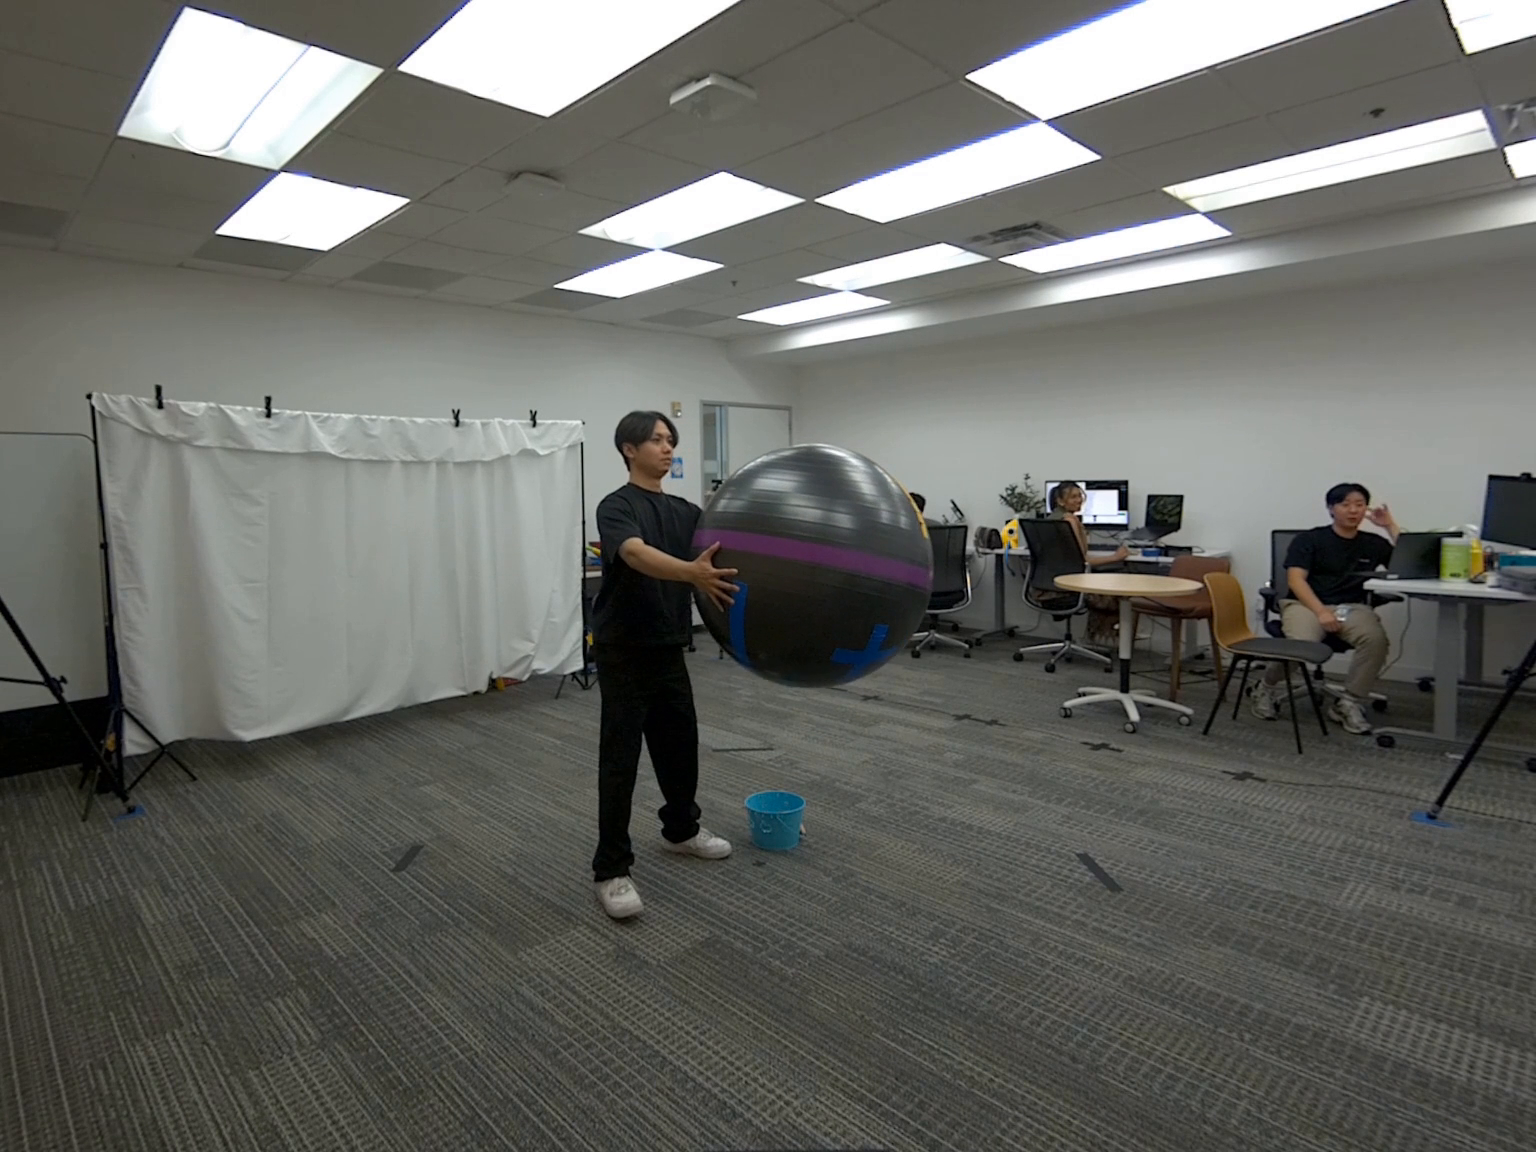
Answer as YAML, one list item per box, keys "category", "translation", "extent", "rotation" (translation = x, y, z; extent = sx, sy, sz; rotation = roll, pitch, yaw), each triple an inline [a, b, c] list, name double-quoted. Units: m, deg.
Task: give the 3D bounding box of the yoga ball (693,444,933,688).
- category: "yoga ball"
  translation: [0.149, -0.027, 2.687]
  extent: [0.757, 0.755, 0.762]
  rotation: [-1, 5, -2]
